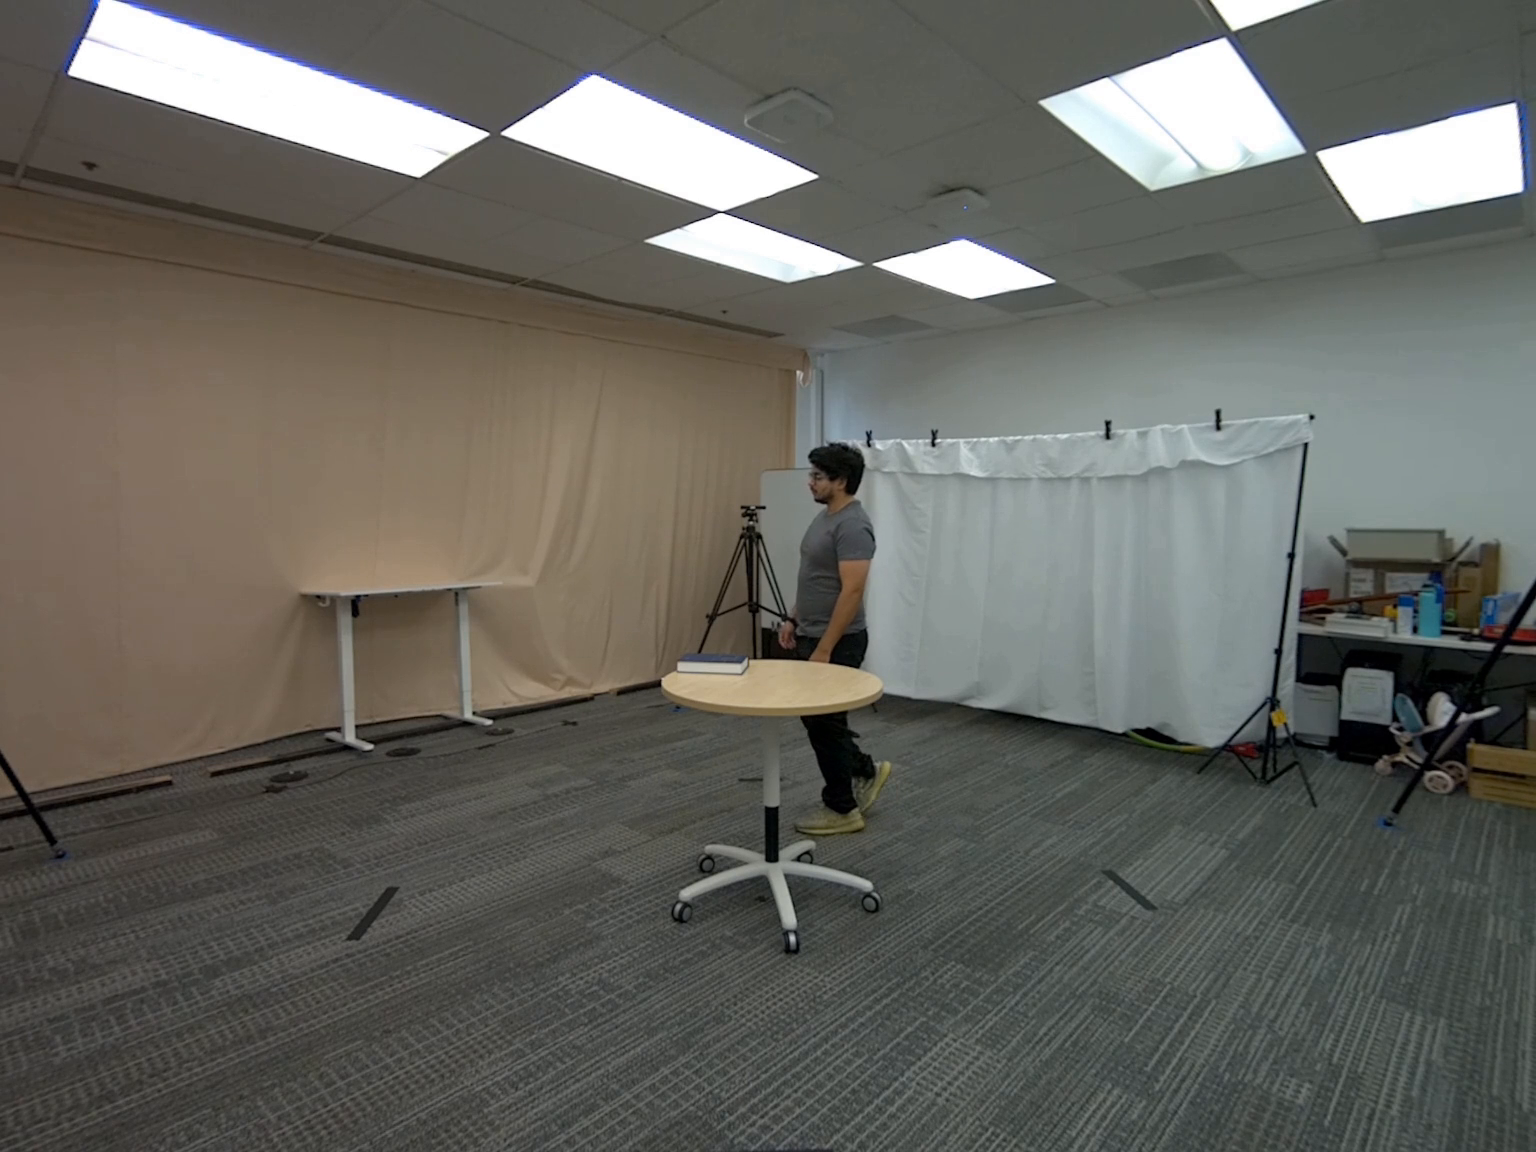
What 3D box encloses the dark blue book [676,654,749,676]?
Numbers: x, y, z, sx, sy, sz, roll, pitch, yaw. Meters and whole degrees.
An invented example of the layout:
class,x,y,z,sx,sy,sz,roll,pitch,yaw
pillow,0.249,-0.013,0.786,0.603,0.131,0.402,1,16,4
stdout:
class,x,y,z,sx,sy,sz,roll,pitch,yaw
dark blue book,-0.193,0.326,3.141,0.248,0.045,0.162,1,6,9
